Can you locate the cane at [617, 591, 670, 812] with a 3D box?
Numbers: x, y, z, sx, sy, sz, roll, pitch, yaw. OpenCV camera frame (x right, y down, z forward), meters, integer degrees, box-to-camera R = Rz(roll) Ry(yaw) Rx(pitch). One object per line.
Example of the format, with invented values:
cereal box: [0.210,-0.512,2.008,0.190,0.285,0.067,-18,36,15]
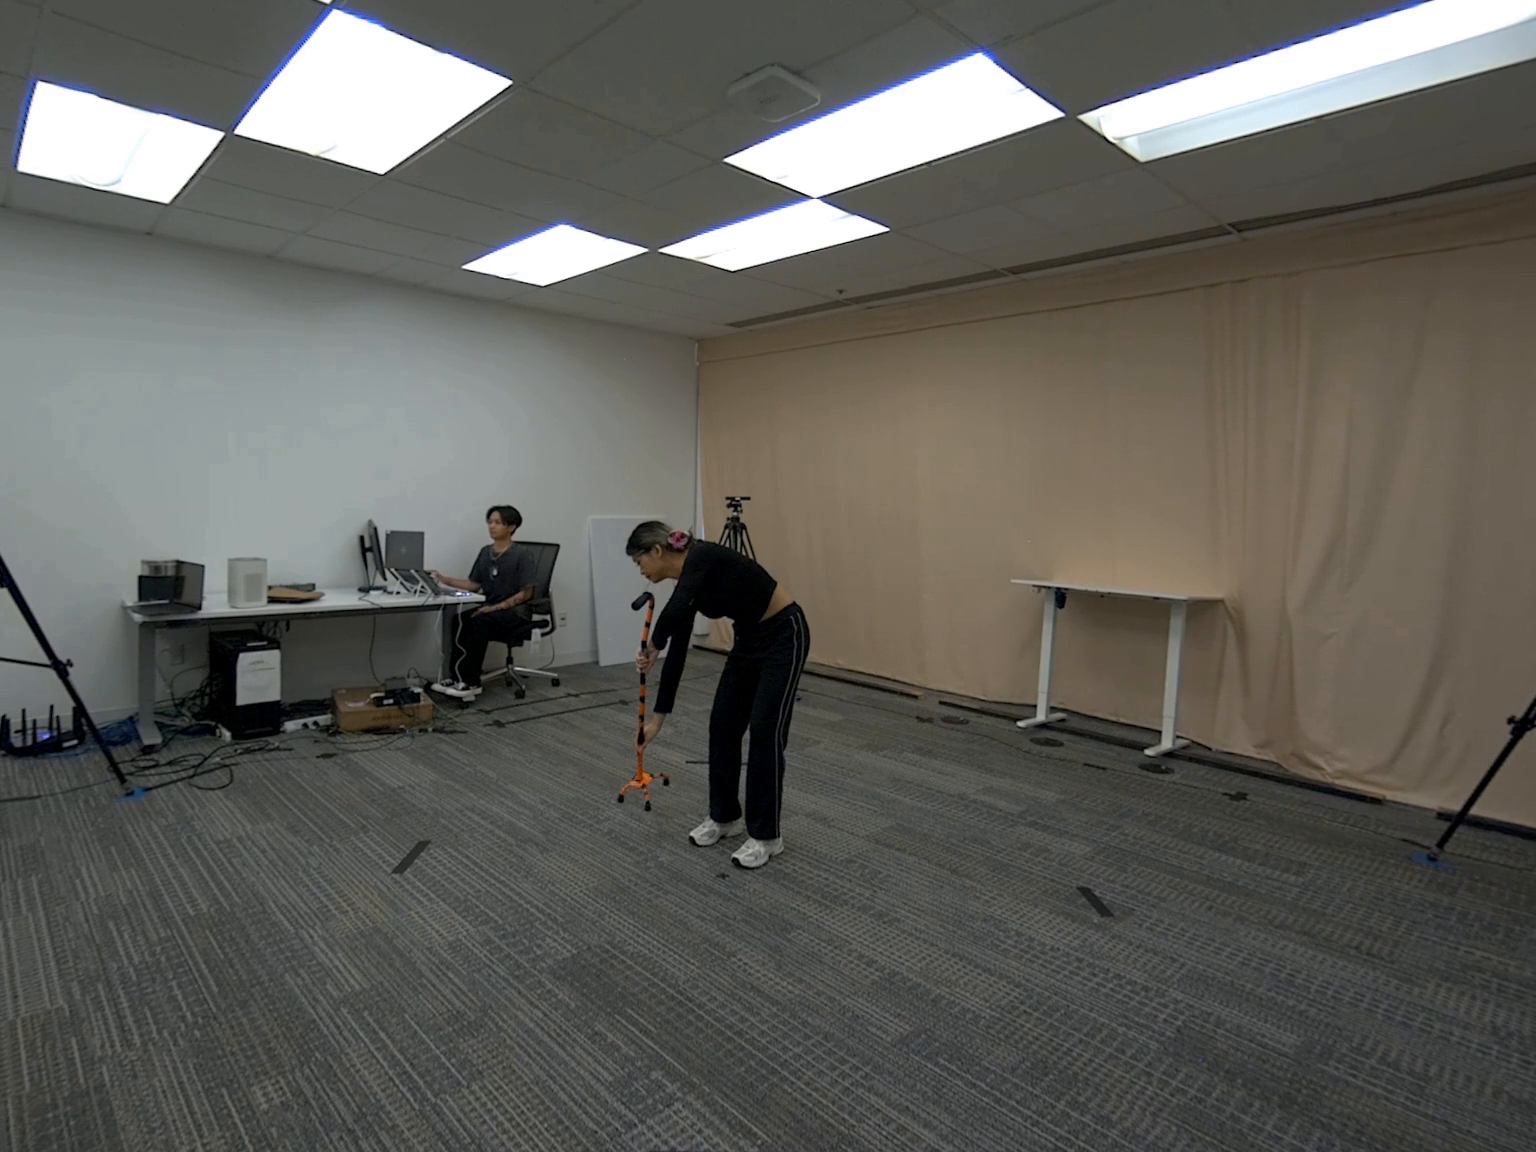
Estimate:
cane: [-0.480,0.480,3.319,0.154,0.896,0.206,12,22,16]
